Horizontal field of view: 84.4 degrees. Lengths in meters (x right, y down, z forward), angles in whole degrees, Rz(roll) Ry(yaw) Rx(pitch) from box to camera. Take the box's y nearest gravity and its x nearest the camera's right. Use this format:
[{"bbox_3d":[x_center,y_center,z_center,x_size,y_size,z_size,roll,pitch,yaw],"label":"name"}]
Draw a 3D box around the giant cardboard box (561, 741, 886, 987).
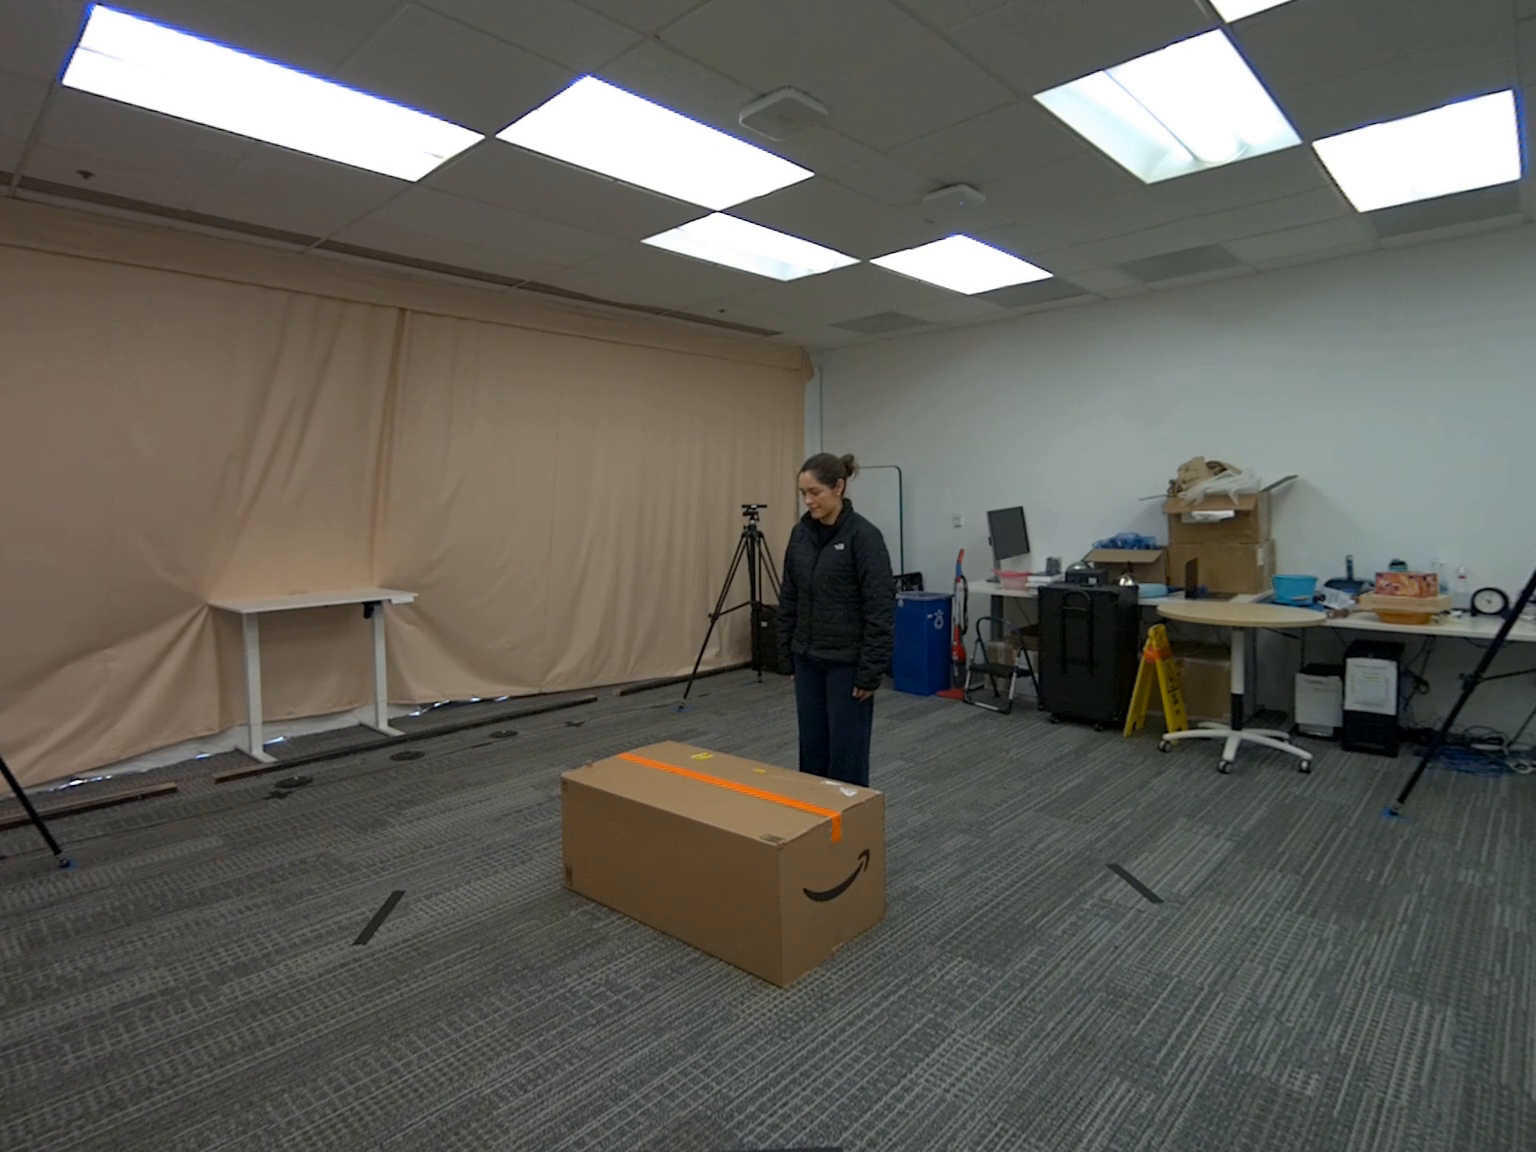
[{"bbox_3d":[-0.173,0.931,2.956,1.059,0.425,0.560,3,5,40],"label":"giant cardboard box"}]
